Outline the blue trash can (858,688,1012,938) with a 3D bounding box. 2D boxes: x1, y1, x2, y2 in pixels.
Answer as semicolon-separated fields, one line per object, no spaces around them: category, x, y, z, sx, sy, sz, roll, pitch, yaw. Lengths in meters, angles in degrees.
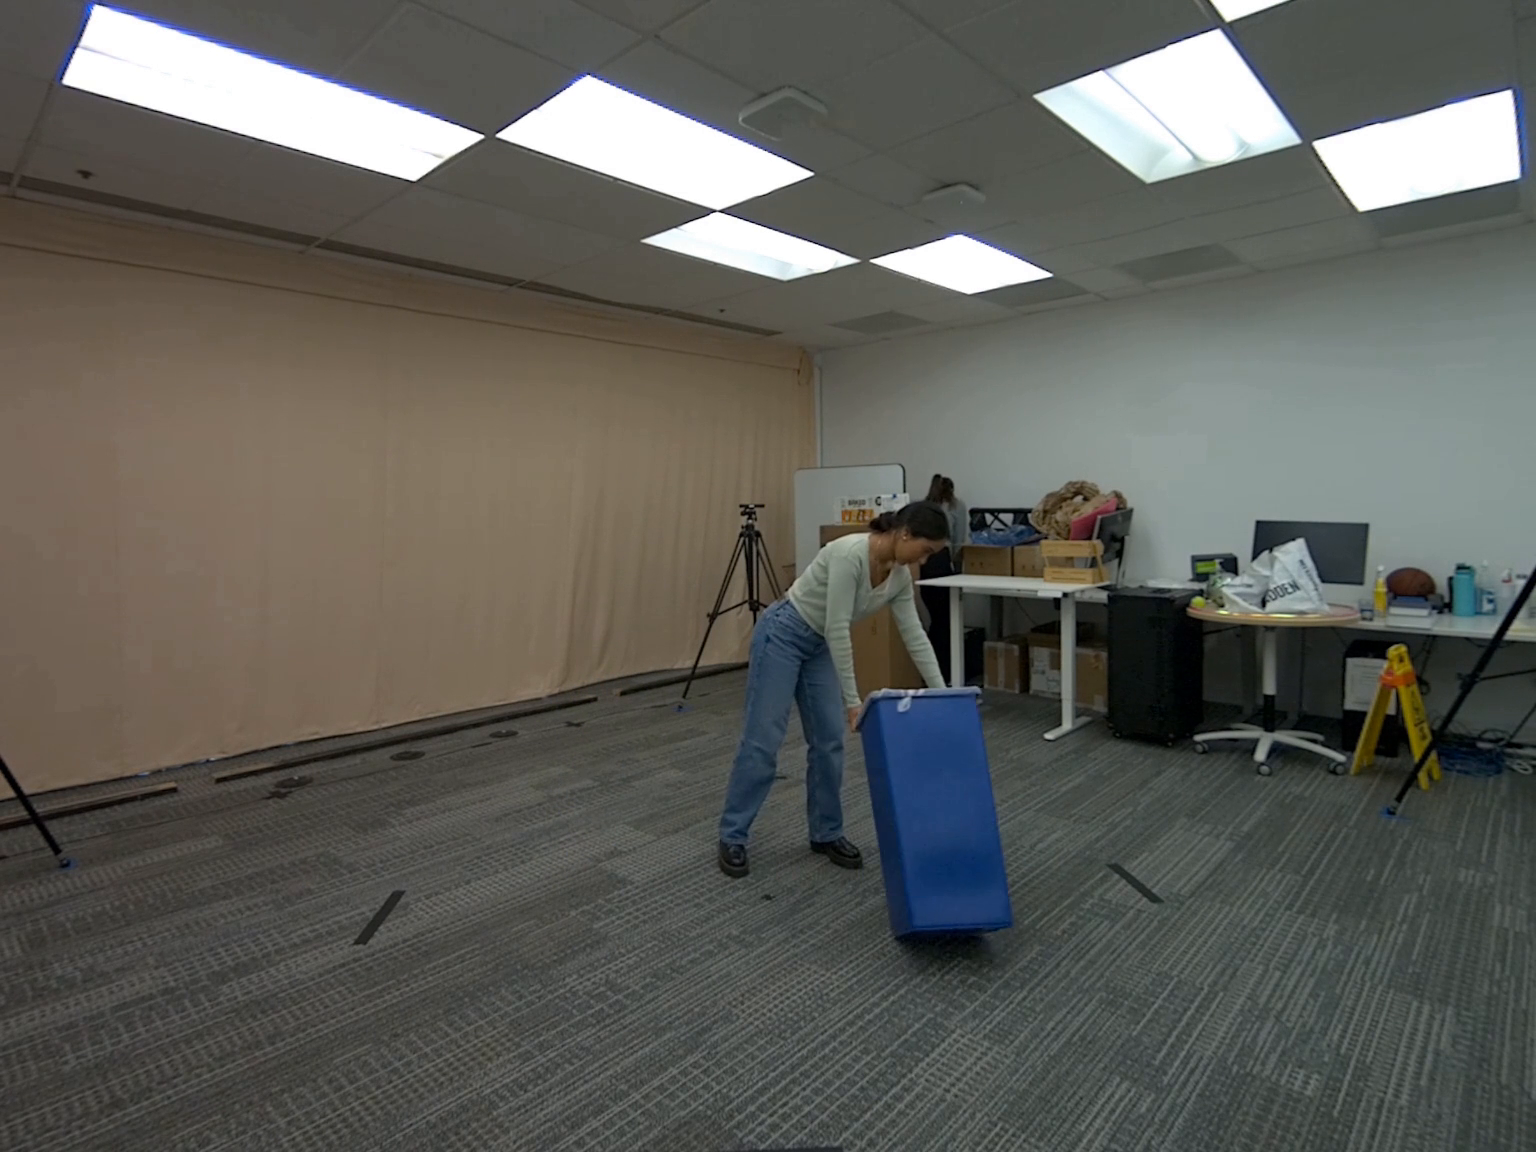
blue trash can;0.537;0.773;2.750;0.377;0.725;0.369;-1;-27;-4
